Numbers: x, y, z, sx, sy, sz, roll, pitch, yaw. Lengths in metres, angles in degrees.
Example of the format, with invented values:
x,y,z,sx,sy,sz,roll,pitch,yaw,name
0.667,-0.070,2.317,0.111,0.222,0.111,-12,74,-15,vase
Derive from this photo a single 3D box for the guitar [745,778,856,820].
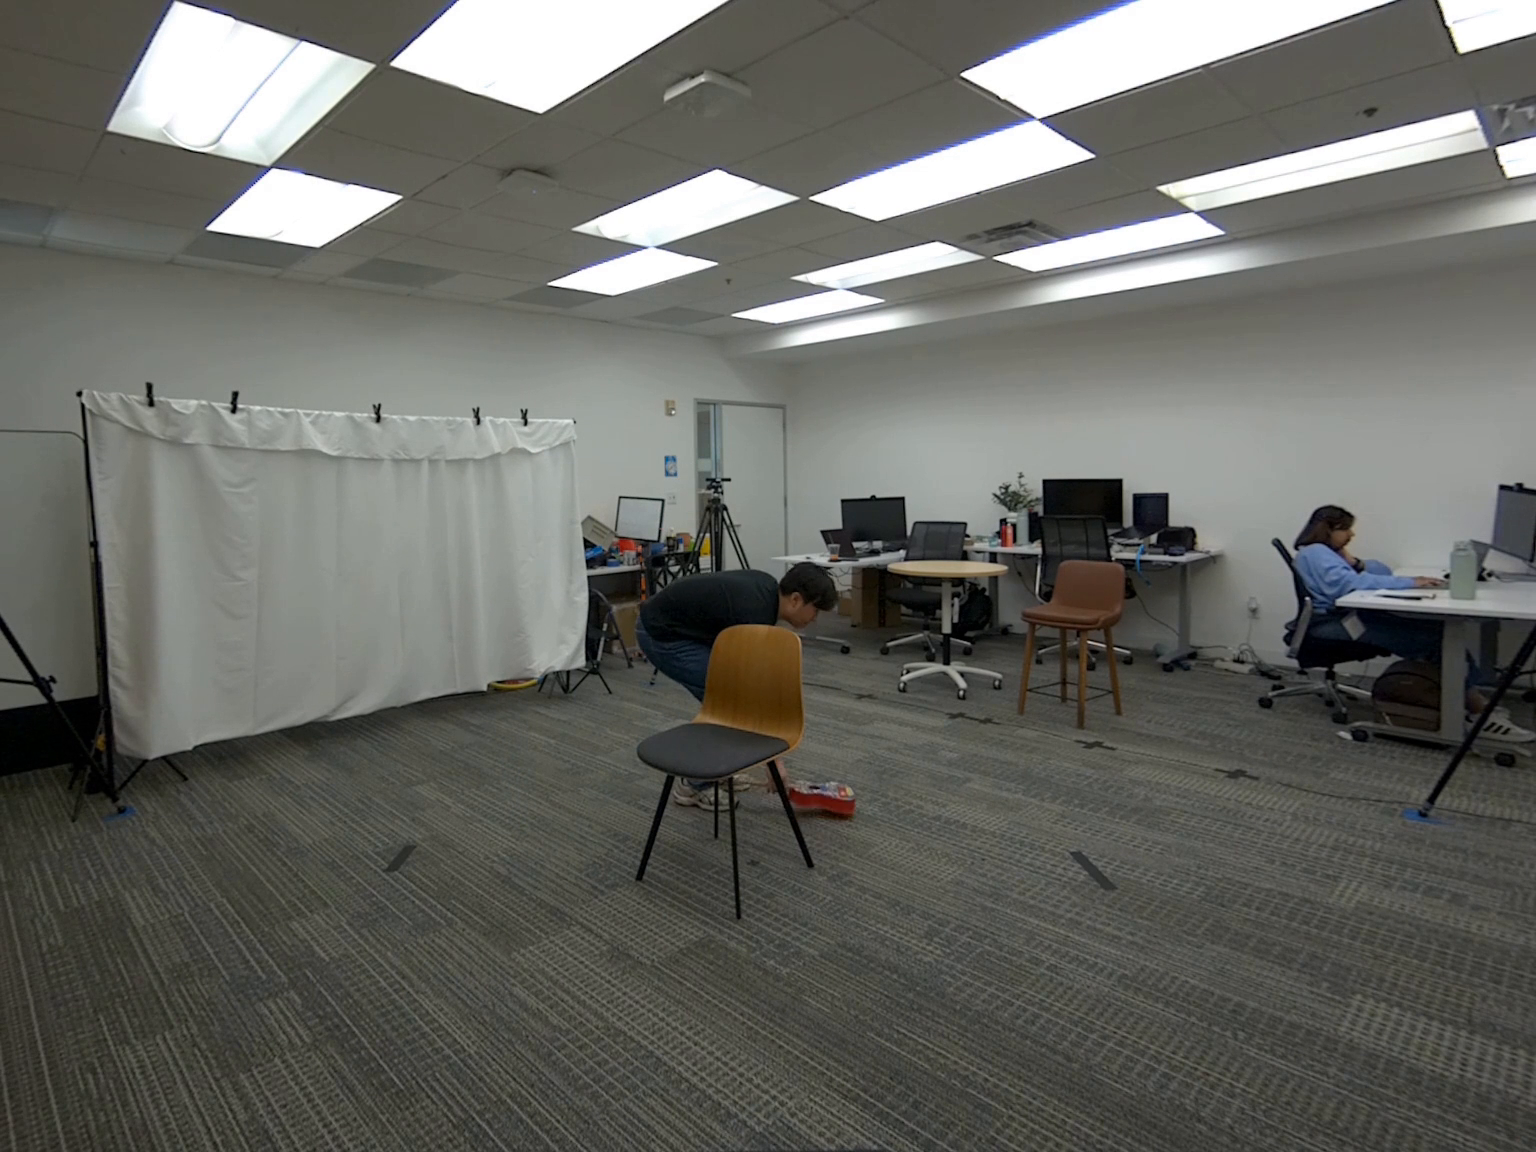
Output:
x,y,z,sx,sy,sz,roll,pitch,yaw,name
0.125,0.882,3.582,0.502,0.070,0.192,6,7,8,guitar
